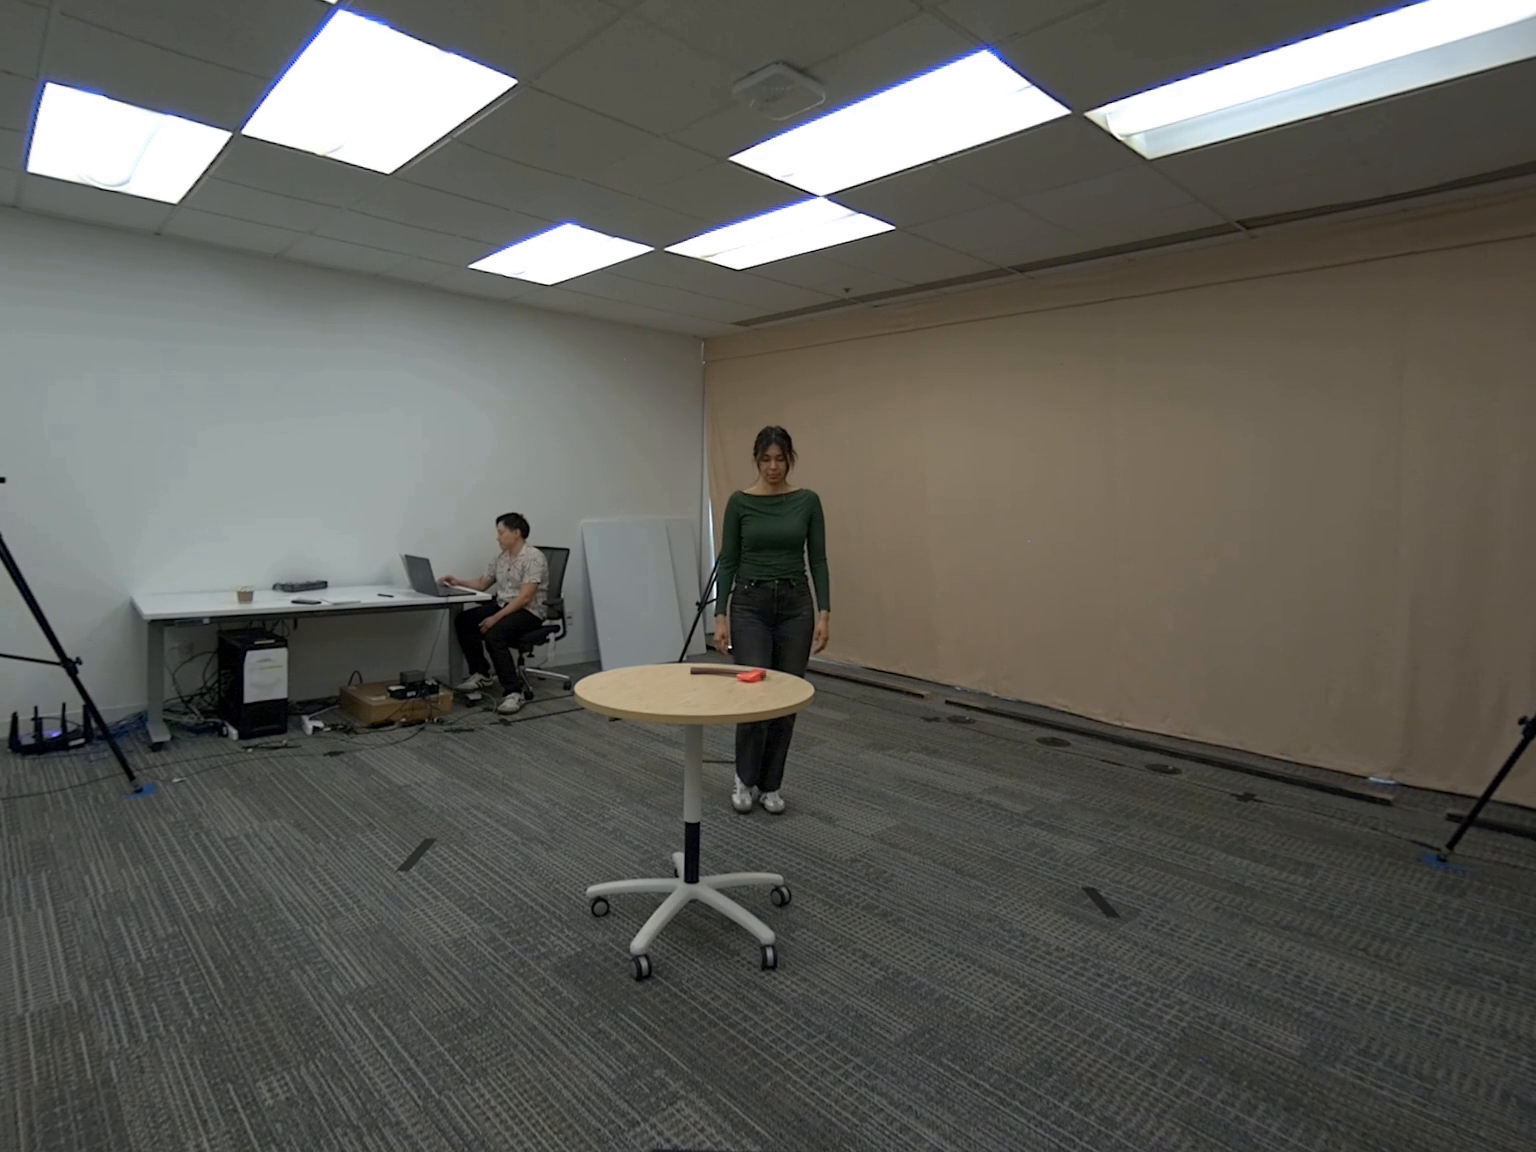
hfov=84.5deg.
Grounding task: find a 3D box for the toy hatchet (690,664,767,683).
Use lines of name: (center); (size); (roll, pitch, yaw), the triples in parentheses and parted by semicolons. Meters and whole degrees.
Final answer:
toy hatchet: (-0.153, 0.338, 2.839); (0.272, 0.029, 0.131); (0, 9, 8)
